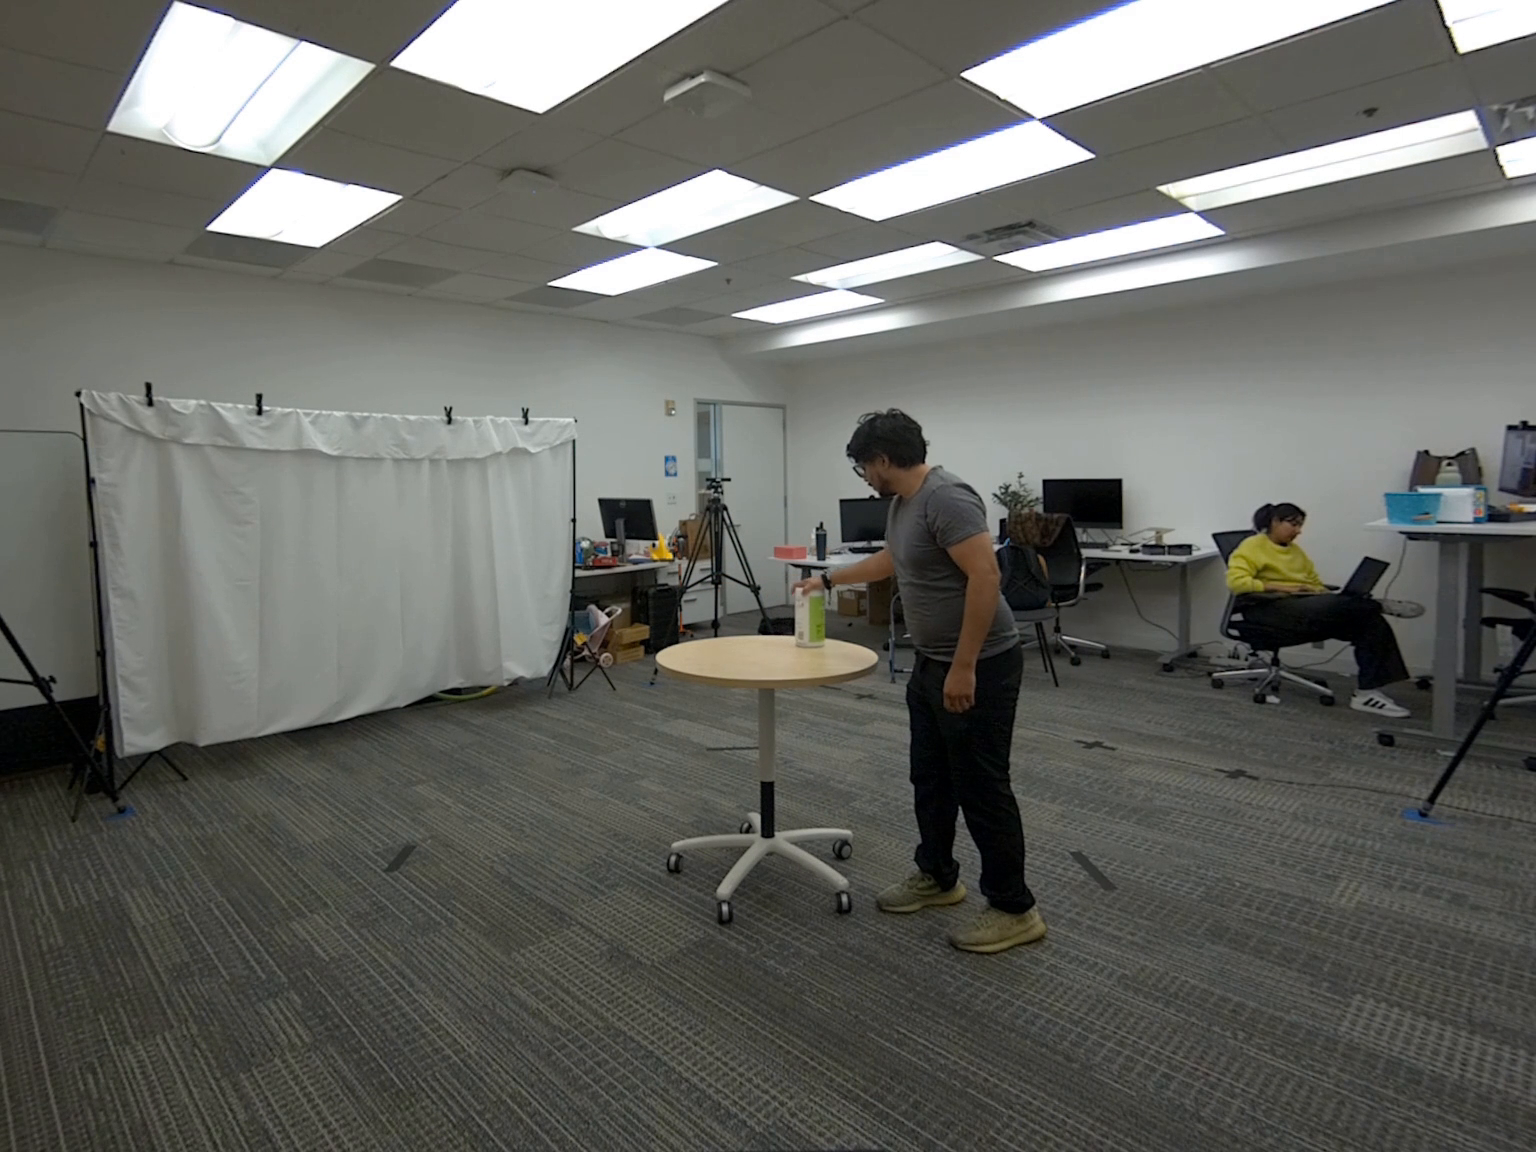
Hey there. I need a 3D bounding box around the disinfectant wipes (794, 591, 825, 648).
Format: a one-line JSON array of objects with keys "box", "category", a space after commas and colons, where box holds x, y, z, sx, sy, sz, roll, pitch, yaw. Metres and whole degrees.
[{"box": [0.159, 0.151, 3.128, 0.118, 0.217, 0.118, 0, 3, -2], "category": "disinfectant wipes"}]
